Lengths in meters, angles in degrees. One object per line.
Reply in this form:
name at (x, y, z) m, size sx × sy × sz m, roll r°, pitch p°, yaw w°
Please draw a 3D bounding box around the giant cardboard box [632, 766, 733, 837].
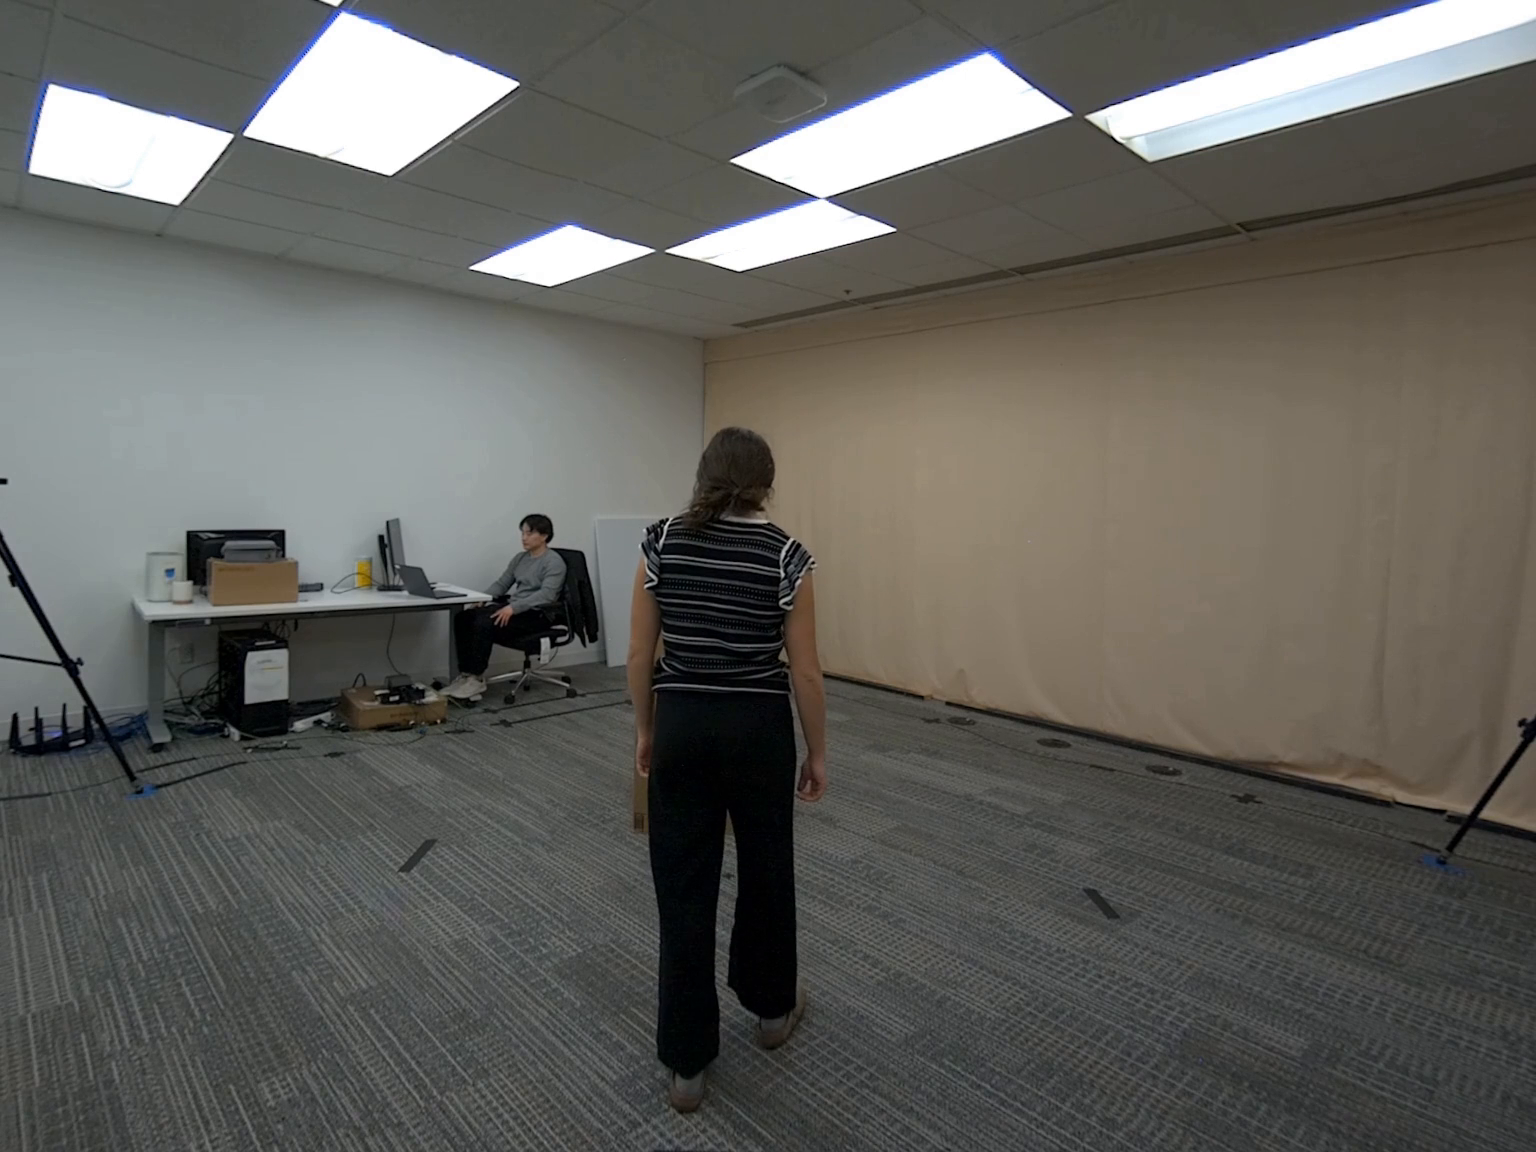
giant cardboard box at (-0.266, 0.547, 3.662) m, size 0.578 × 1.023 × 0.426 m, roll 2°, pitch 3°, yaw 1°
